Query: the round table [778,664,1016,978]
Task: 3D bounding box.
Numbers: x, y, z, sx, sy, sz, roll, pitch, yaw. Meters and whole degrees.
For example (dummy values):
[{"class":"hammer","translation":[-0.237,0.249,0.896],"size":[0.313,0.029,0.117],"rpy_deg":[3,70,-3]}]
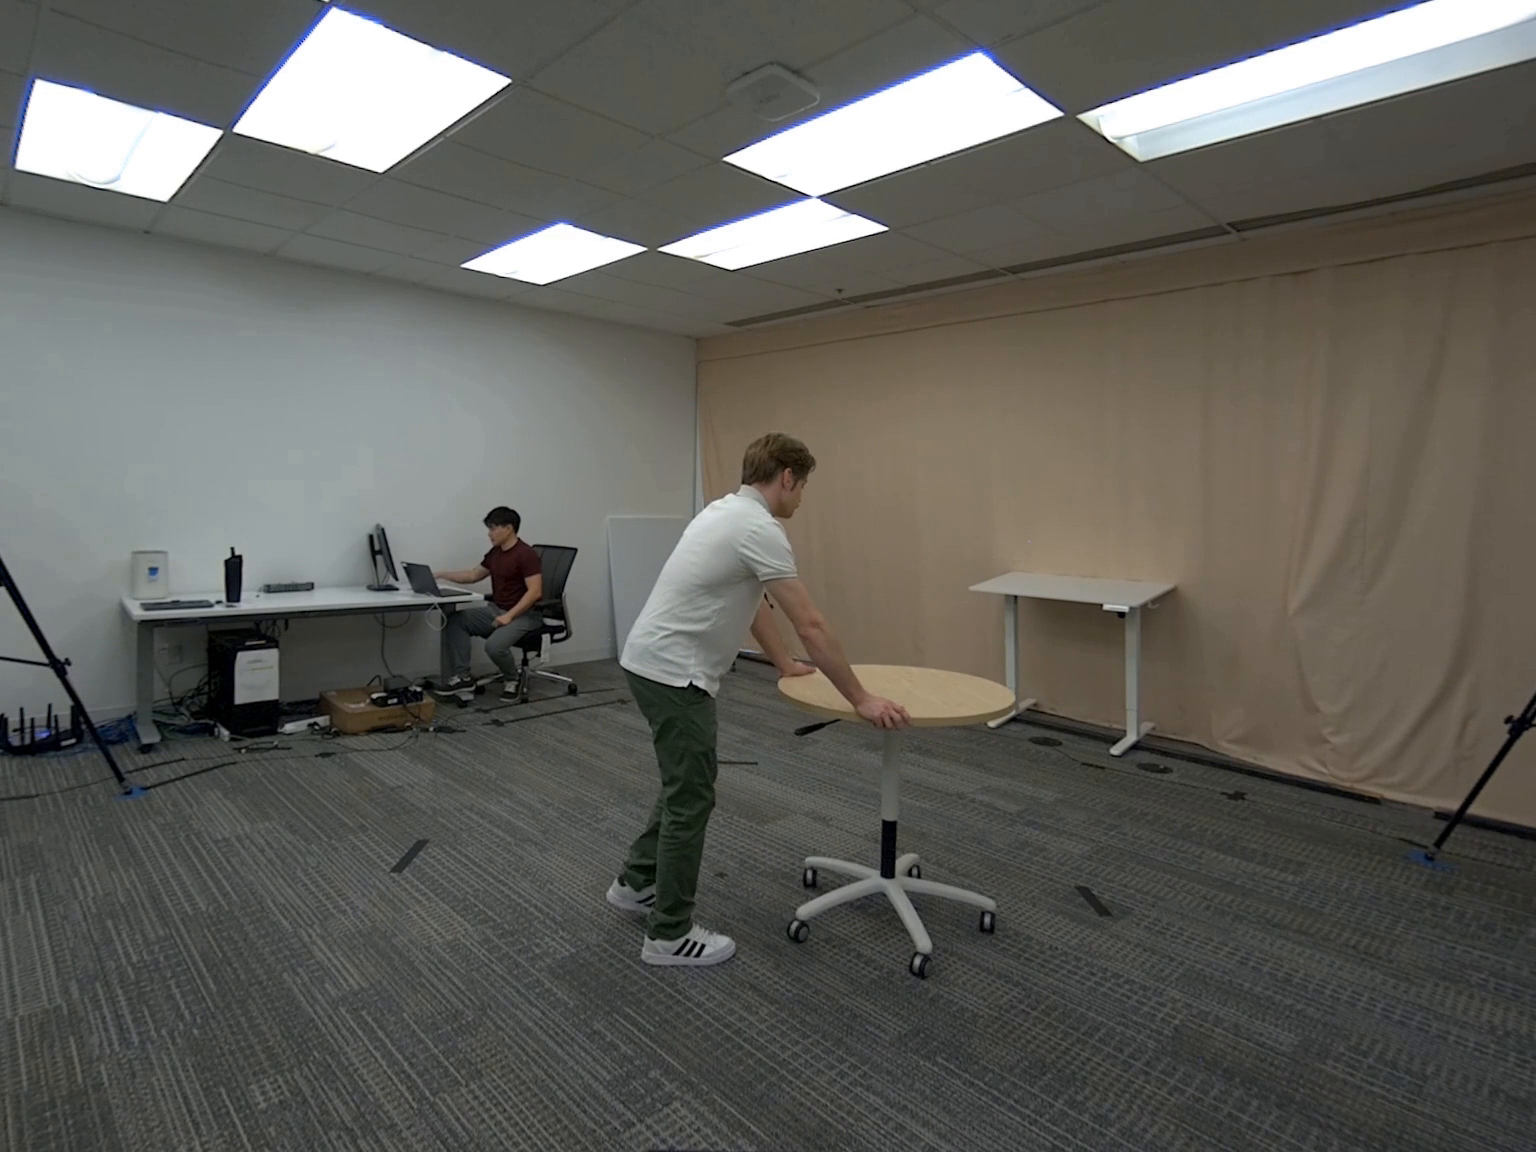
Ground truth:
[{"class":"round table","translation":[0.399,0.759,2.800],"size":[0.763,0.792,0.766],"rpy_deg":[1,4,-1]}]
